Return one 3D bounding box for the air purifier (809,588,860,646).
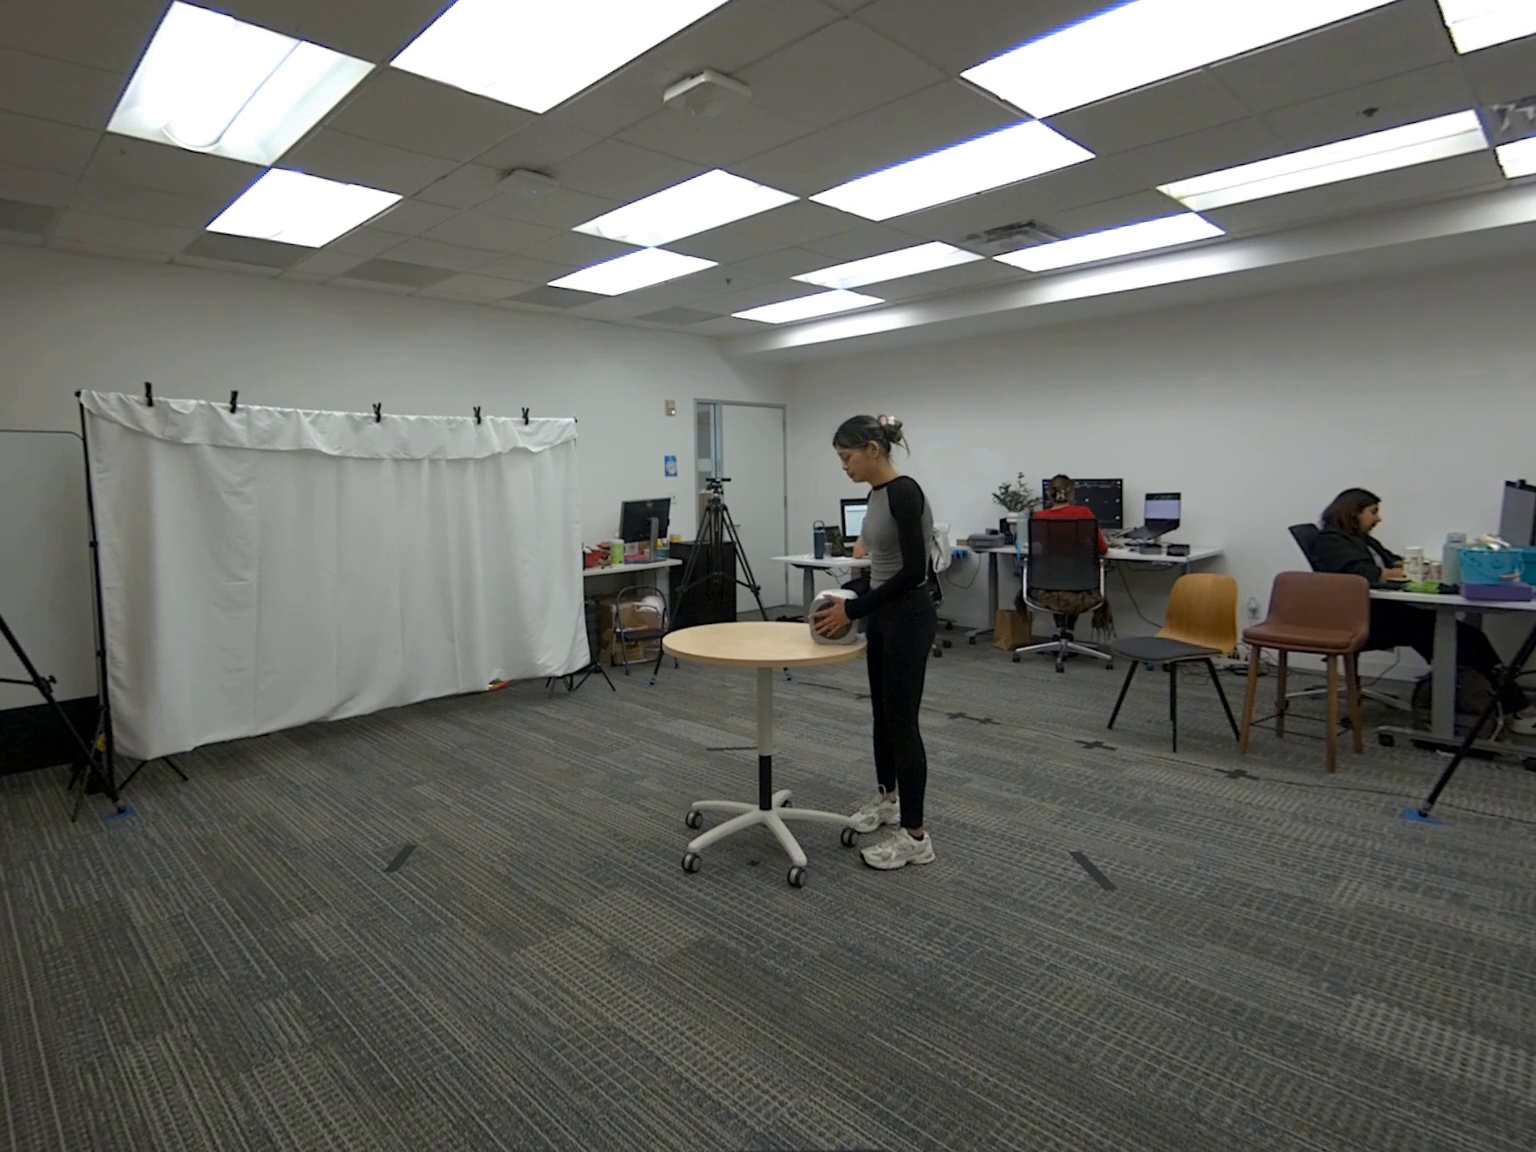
[{"bbox_3d":[0.261,0.147,3.205,0.173,0.171,0.264,-1,6,10],"label":"air purifier"}]
